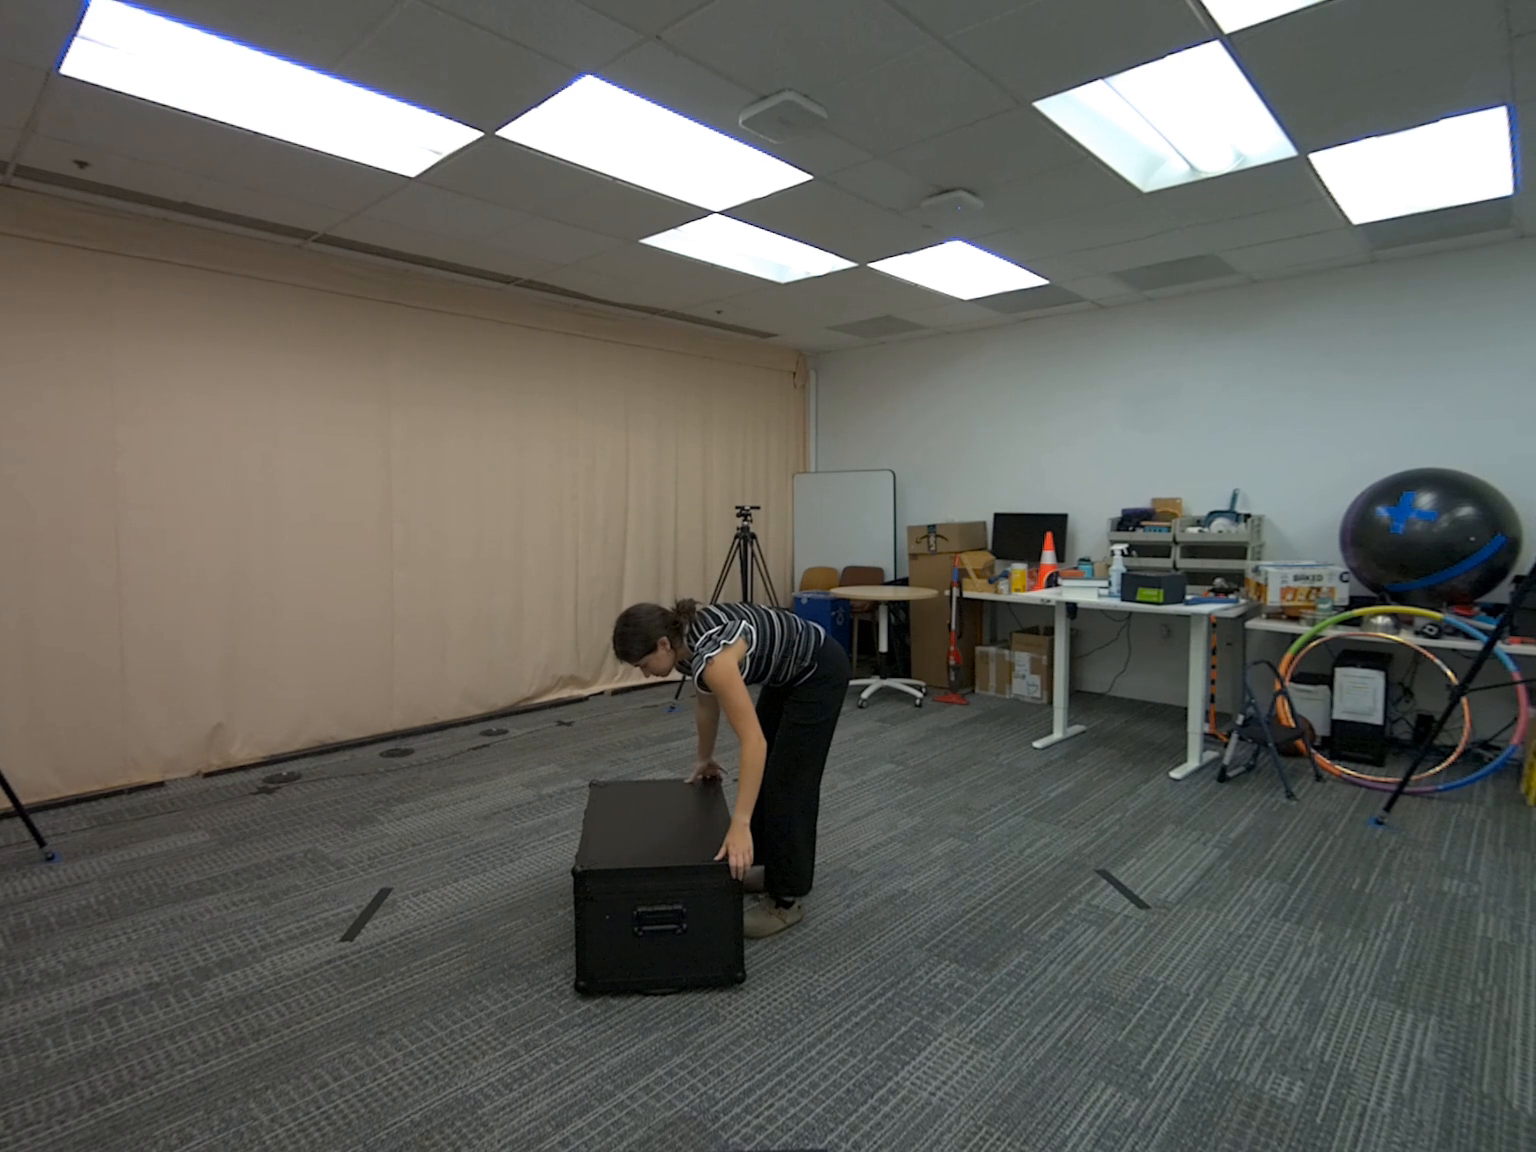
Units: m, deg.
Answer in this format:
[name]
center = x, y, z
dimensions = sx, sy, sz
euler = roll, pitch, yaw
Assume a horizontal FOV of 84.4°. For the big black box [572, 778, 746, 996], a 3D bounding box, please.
[big black box]
center = -0.363, 0.970, 2.800
dimensions = 0.517, 0.395, 0.870
euler = -1, 5, -8
